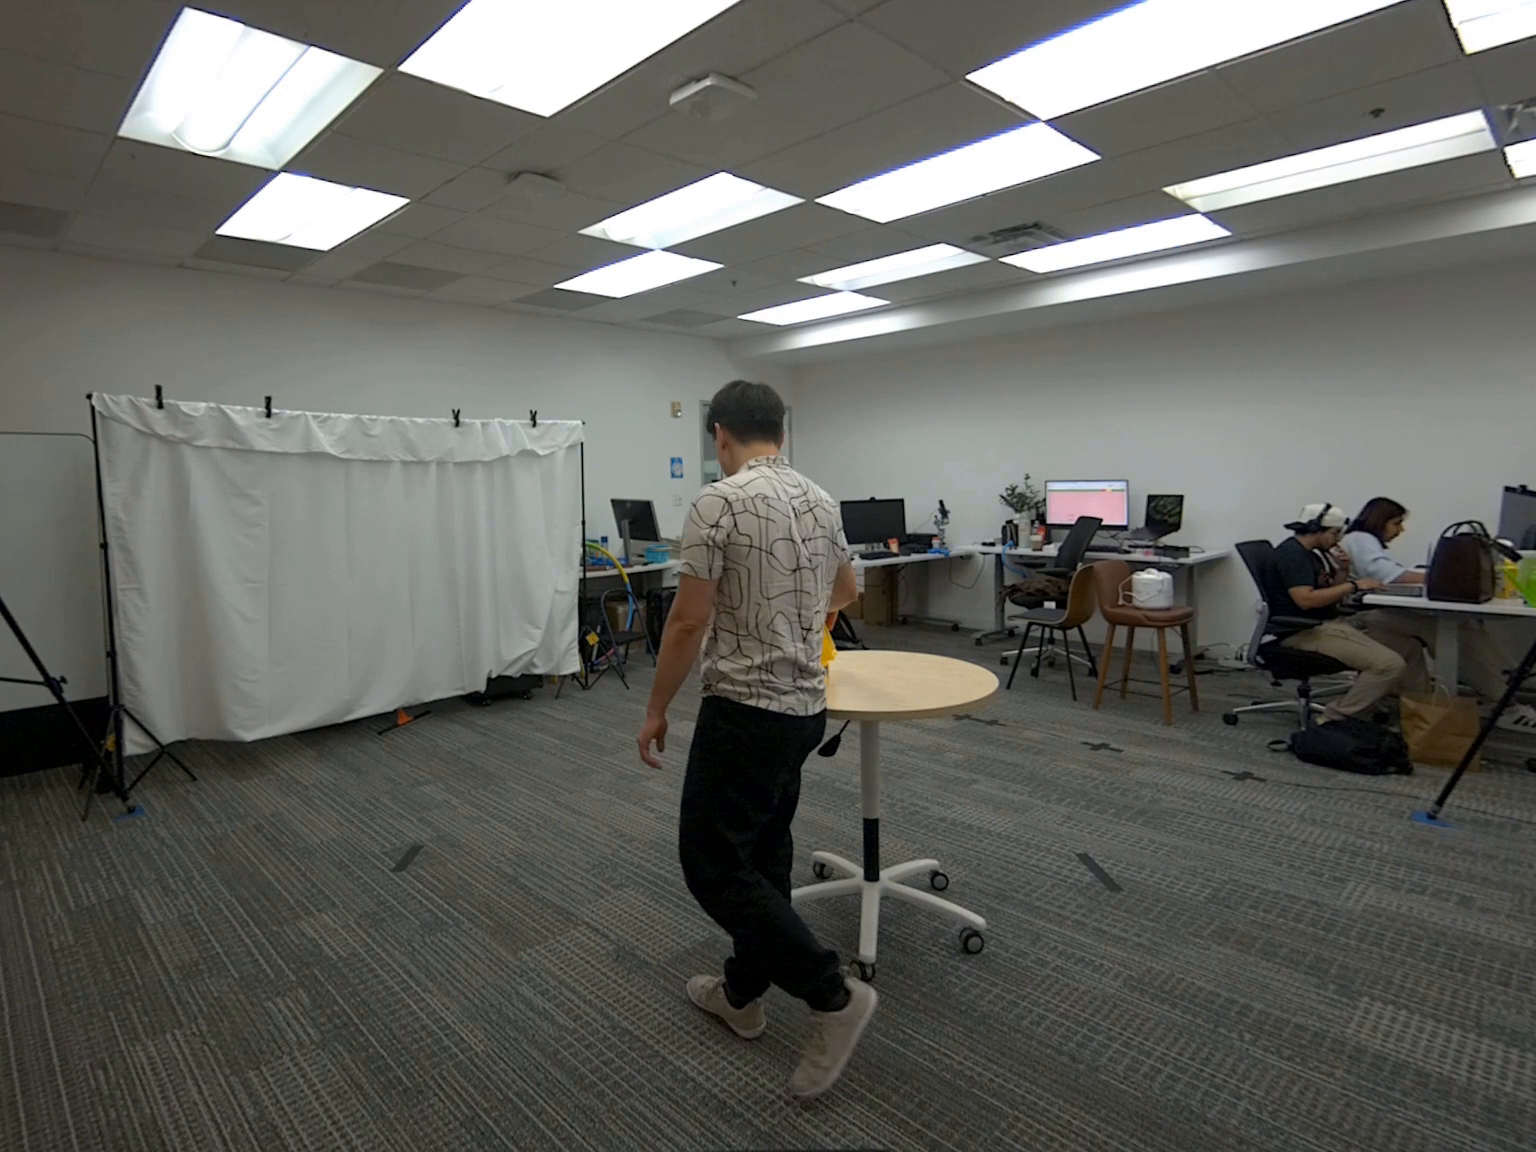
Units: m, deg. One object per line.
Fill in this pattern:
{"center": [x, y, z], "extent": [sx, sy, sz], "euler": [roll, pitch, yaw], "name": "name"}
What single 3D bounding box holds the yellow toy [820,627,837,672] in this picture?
{"center": [0.126, 0.203, 2.640], "extent": [0.194, 0.230, 0.204], "euler": [0, 5, 6], "name": "yellow toy"}
